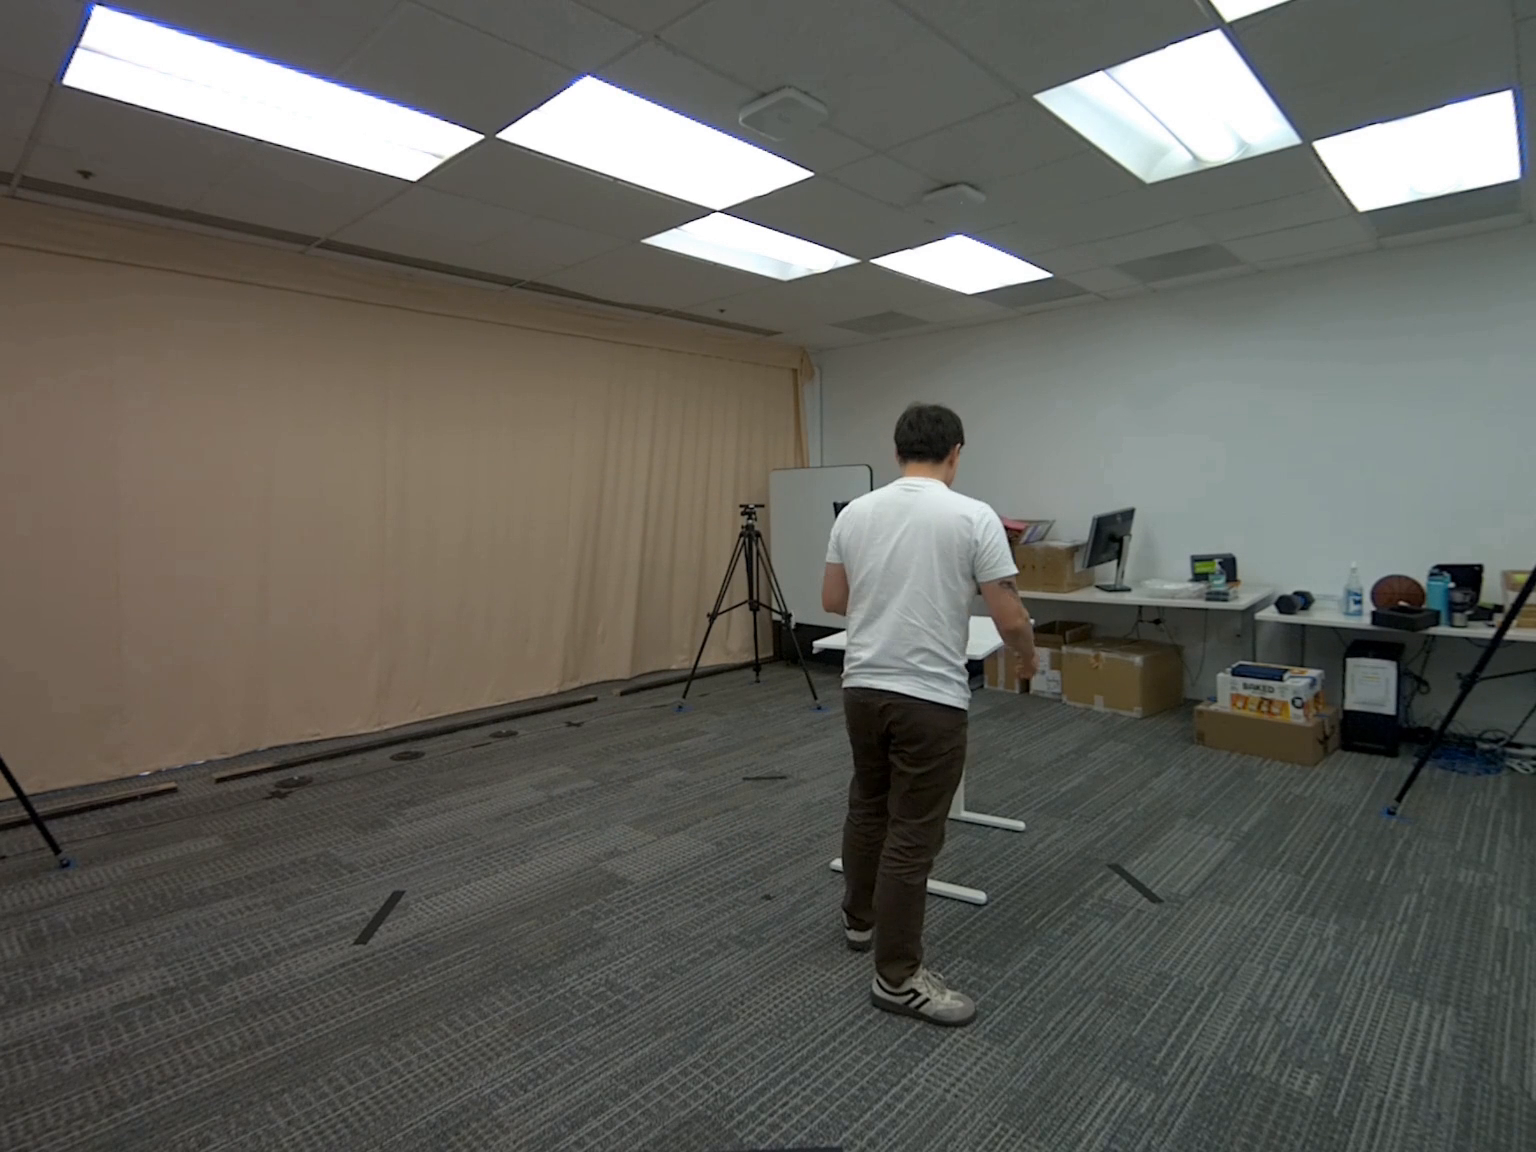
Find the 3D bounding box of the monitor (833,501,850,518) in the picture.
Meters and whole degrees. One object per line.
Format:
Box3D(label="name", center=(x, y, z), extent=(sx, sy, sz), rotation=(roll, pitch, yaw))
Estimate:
Box3D(label="monitor", center=(0.497, -0.014, 3.021), extent=(0.555, 0.520, 0.182), rotation=(2, 7, 33))
